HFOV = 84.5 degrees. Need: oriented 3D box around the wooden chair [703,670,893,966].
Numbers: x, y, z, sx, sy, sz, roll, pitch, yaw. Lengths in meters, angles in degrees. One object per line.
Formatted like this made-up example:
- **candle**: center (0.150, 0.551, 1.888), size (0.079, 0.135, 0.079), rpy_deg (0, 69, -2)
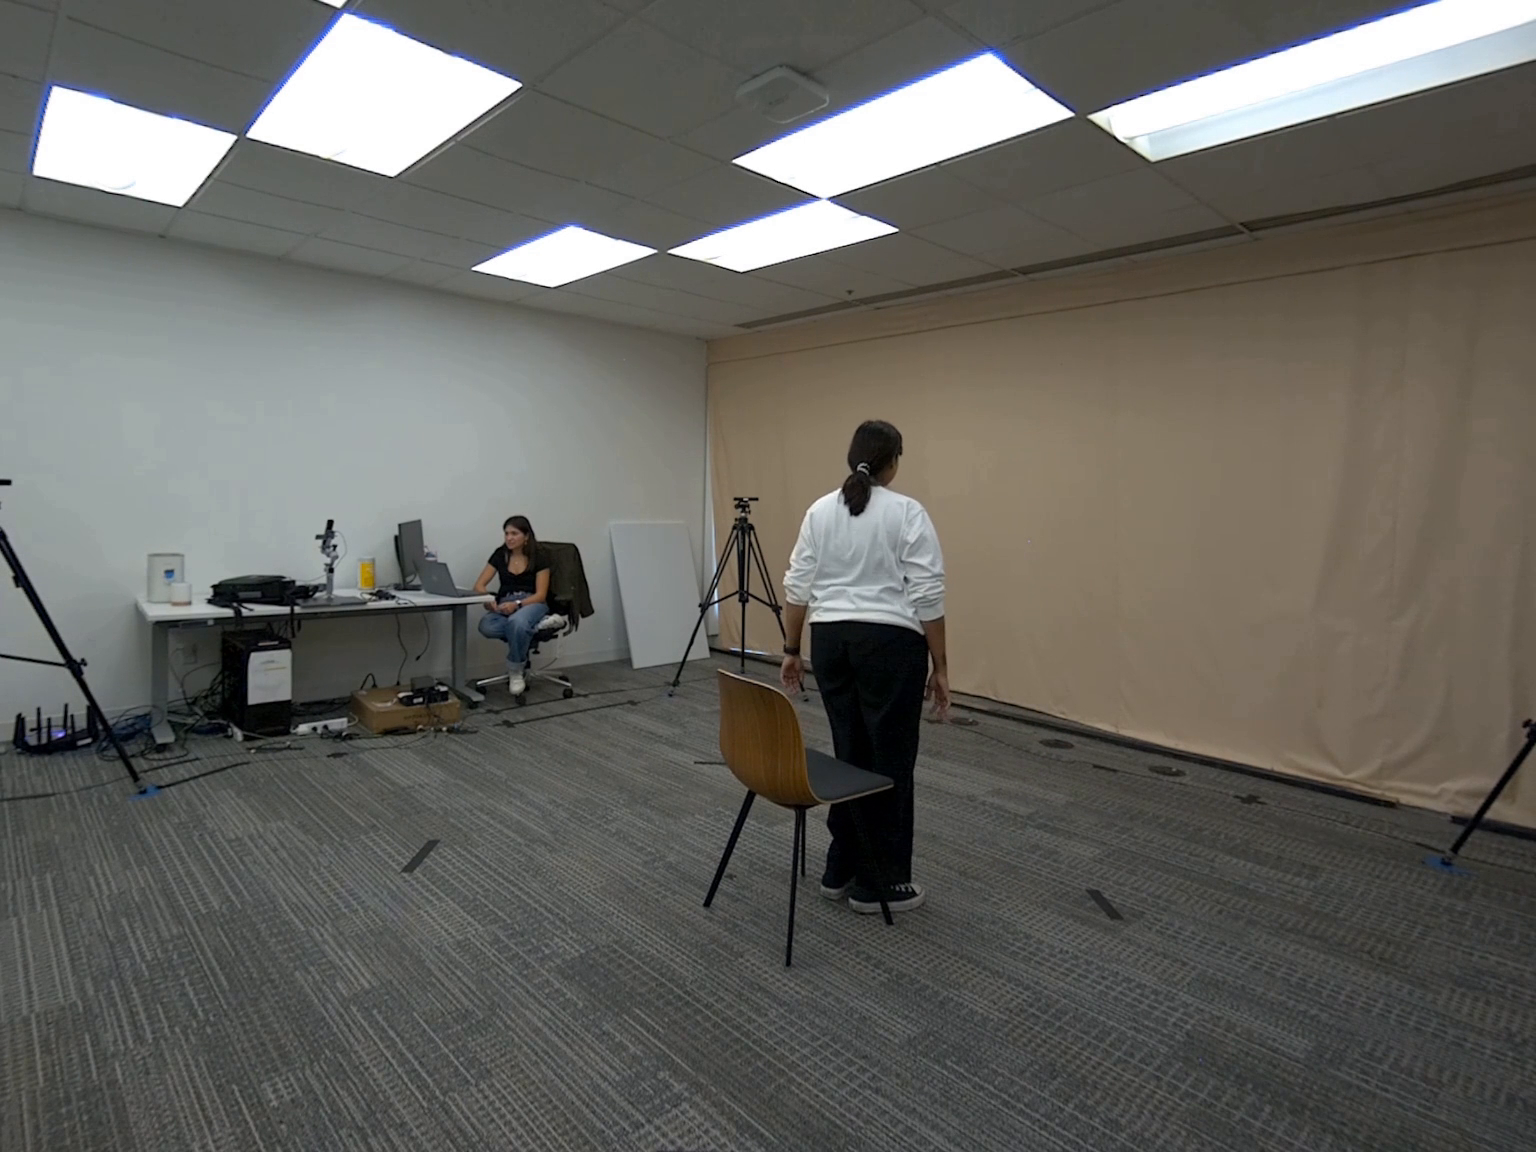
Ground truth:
- **wooden chair**: center (0.102, 0.715, 2.793), size (0.512, 0.873, 0.490), rpy_deg (-7, 7, -38)
